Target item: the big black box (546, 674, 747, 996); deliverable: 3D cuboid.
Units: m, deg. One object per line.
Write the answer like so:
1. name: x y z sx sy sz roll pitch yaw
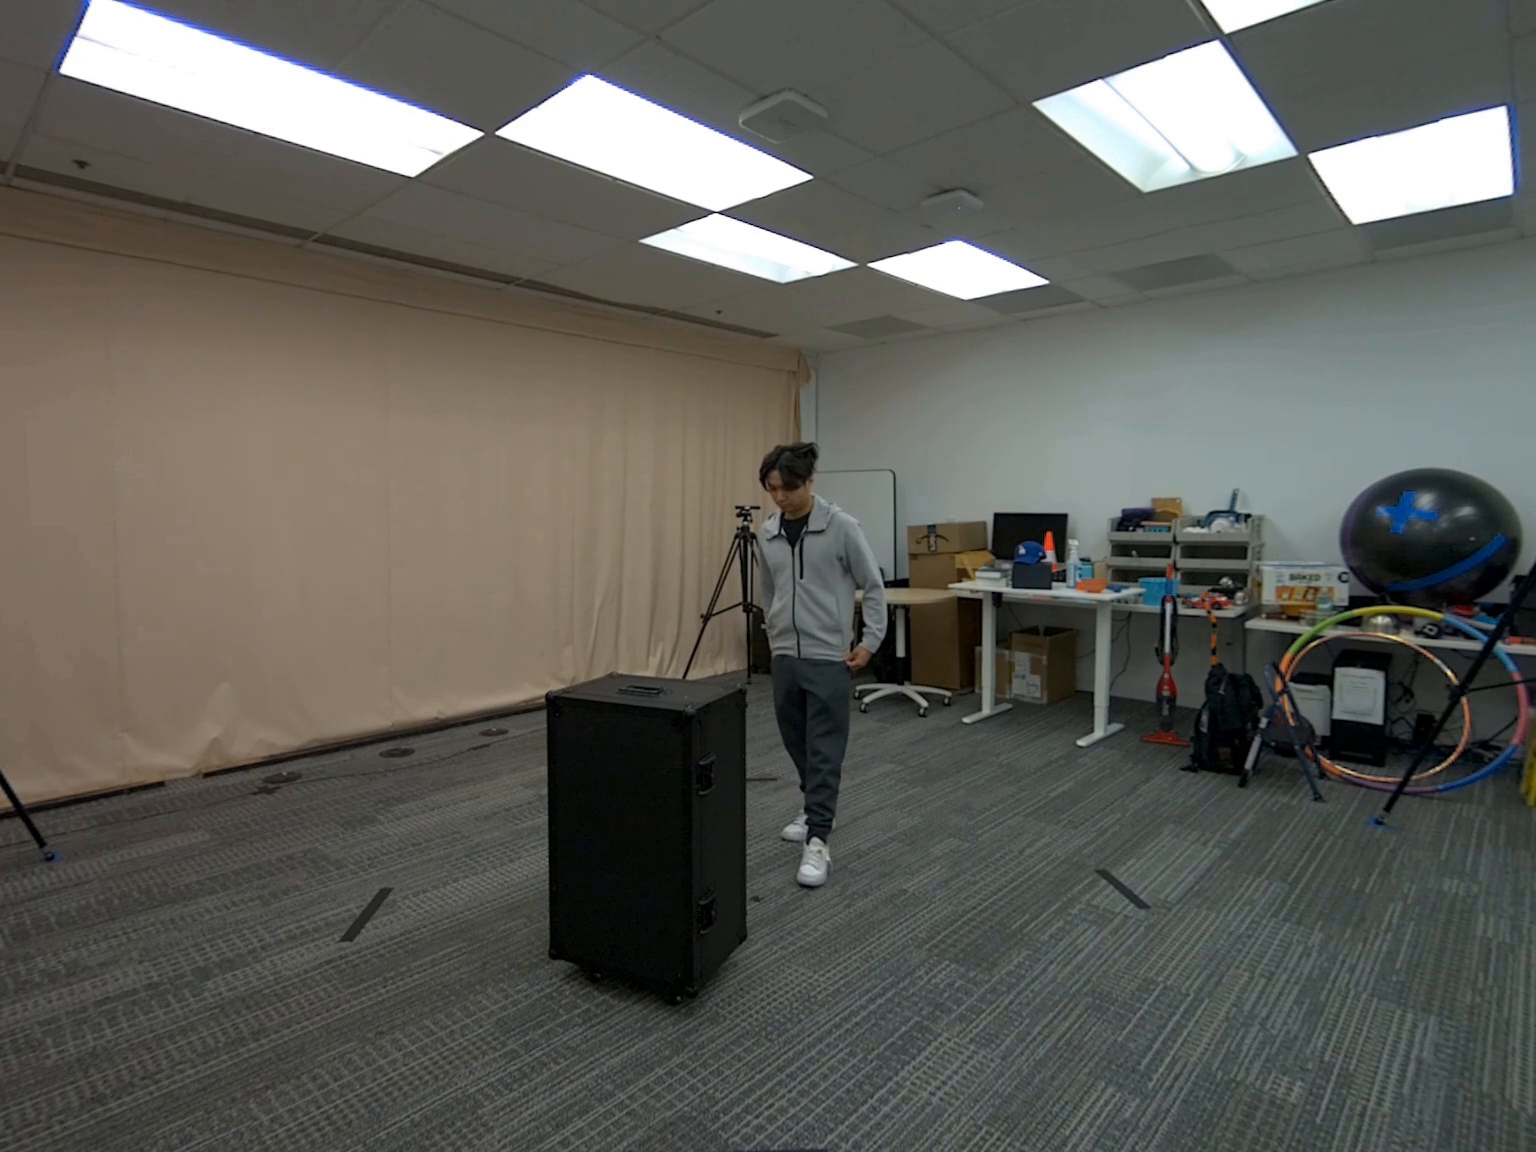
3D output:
1. big black box: -0.353 0.760 2.514 0.535 0.860 0.386 1 2 25
